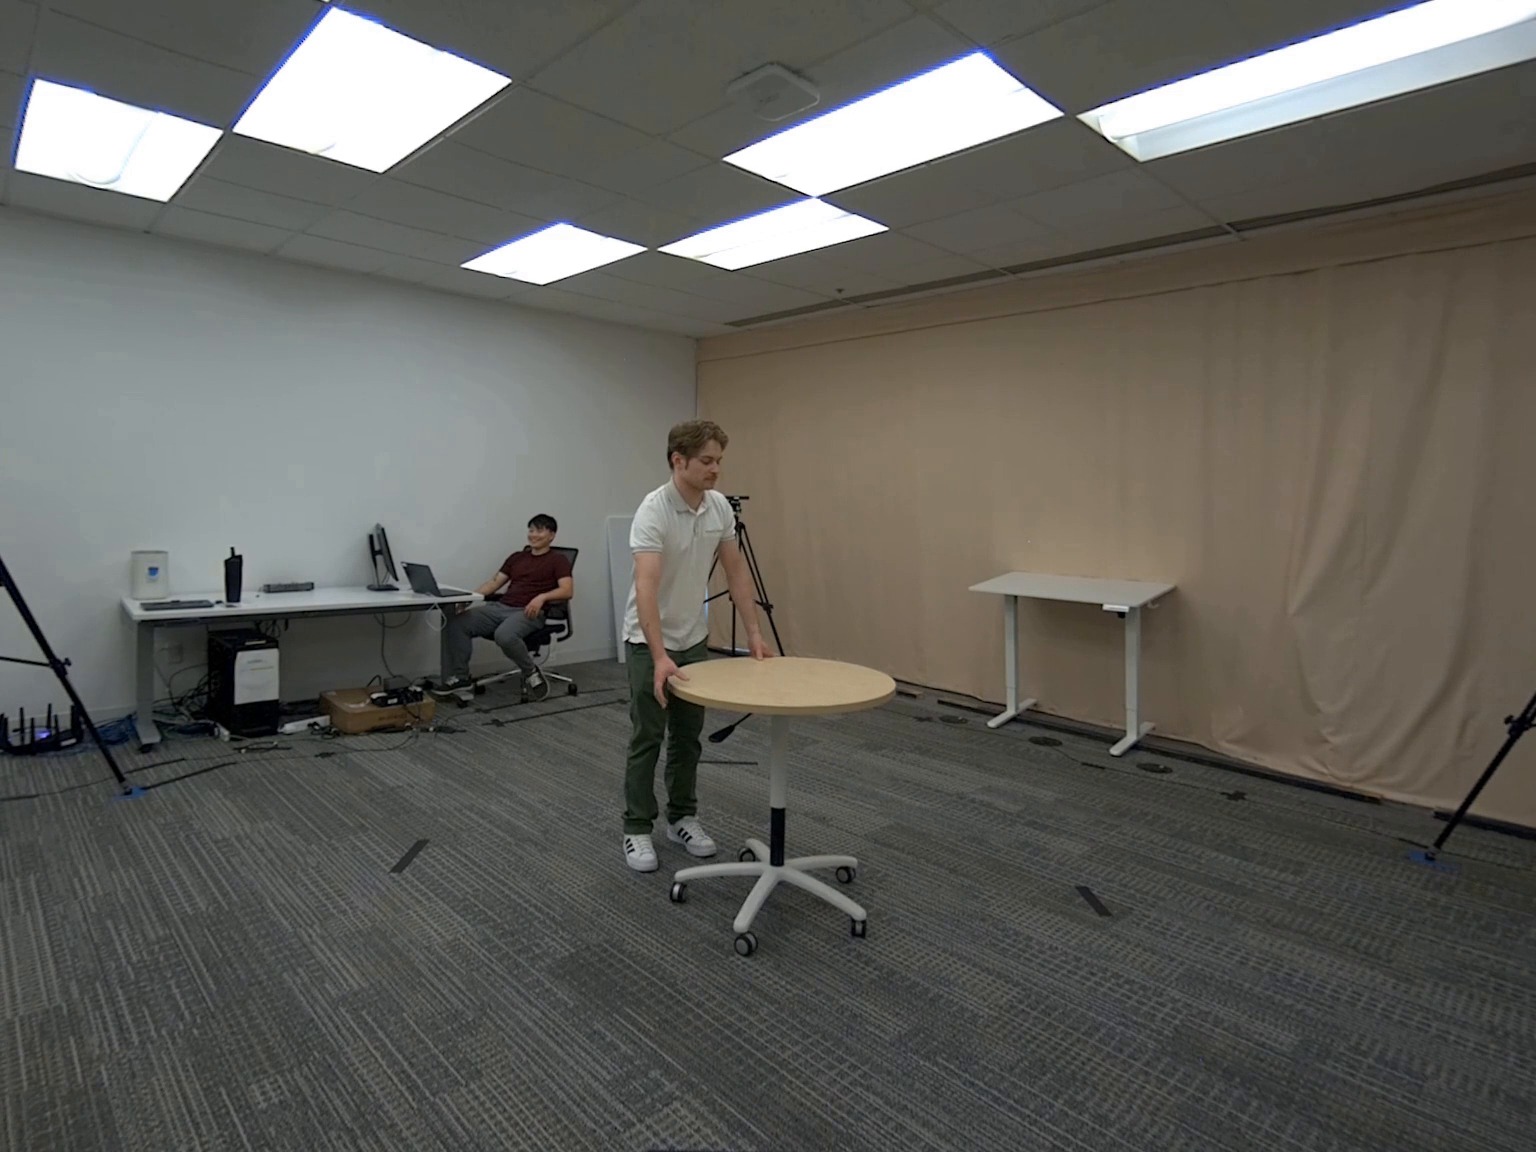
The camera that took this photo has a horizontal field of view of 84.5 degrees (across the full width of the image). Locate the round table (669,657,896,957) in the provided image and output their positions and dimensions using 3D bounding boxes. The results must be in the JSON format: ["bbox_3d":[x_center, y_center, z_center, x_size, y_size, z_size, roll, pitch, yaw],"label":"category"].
[{"bbox_3d":[0.035,0.742,2.869,0.763,0.792,0.767,1,4,-1],"label":"round table"}]
